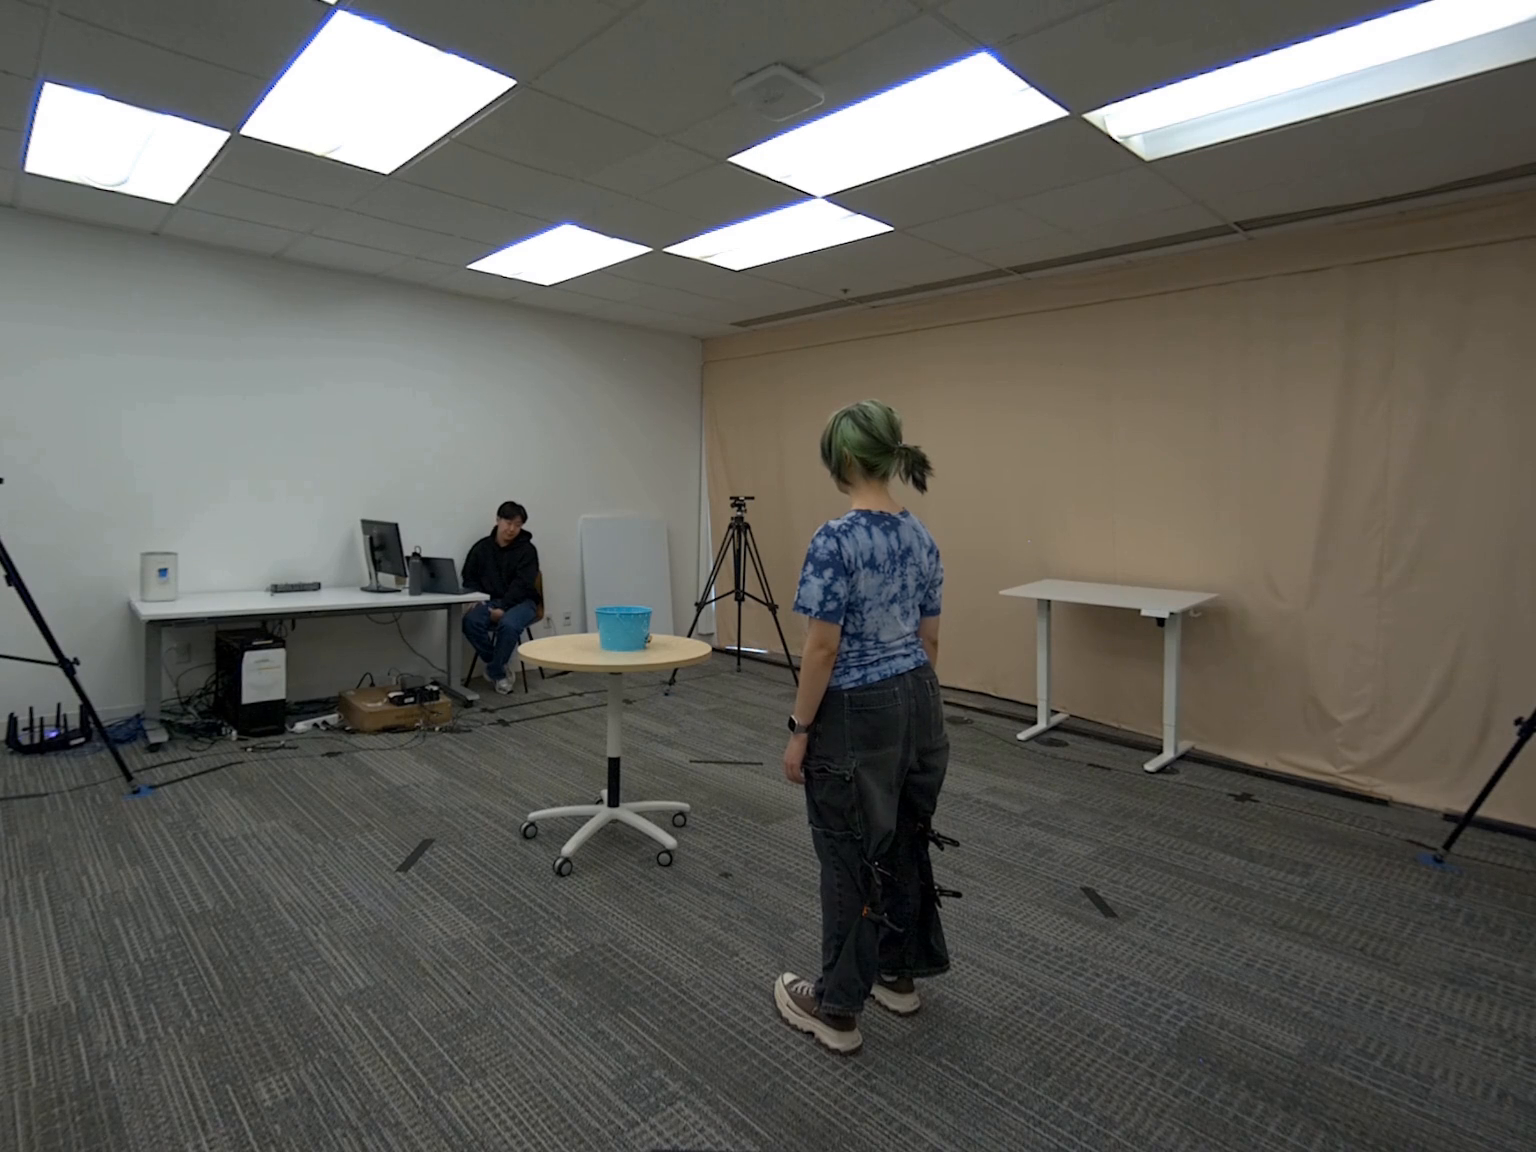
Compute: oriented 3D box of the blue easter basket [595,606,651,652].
[{"bbox_3d":[-0.587,0.212,3.356,0.243,0.155,0.244,1,4,-1],"label":"blue easter basket"}]
